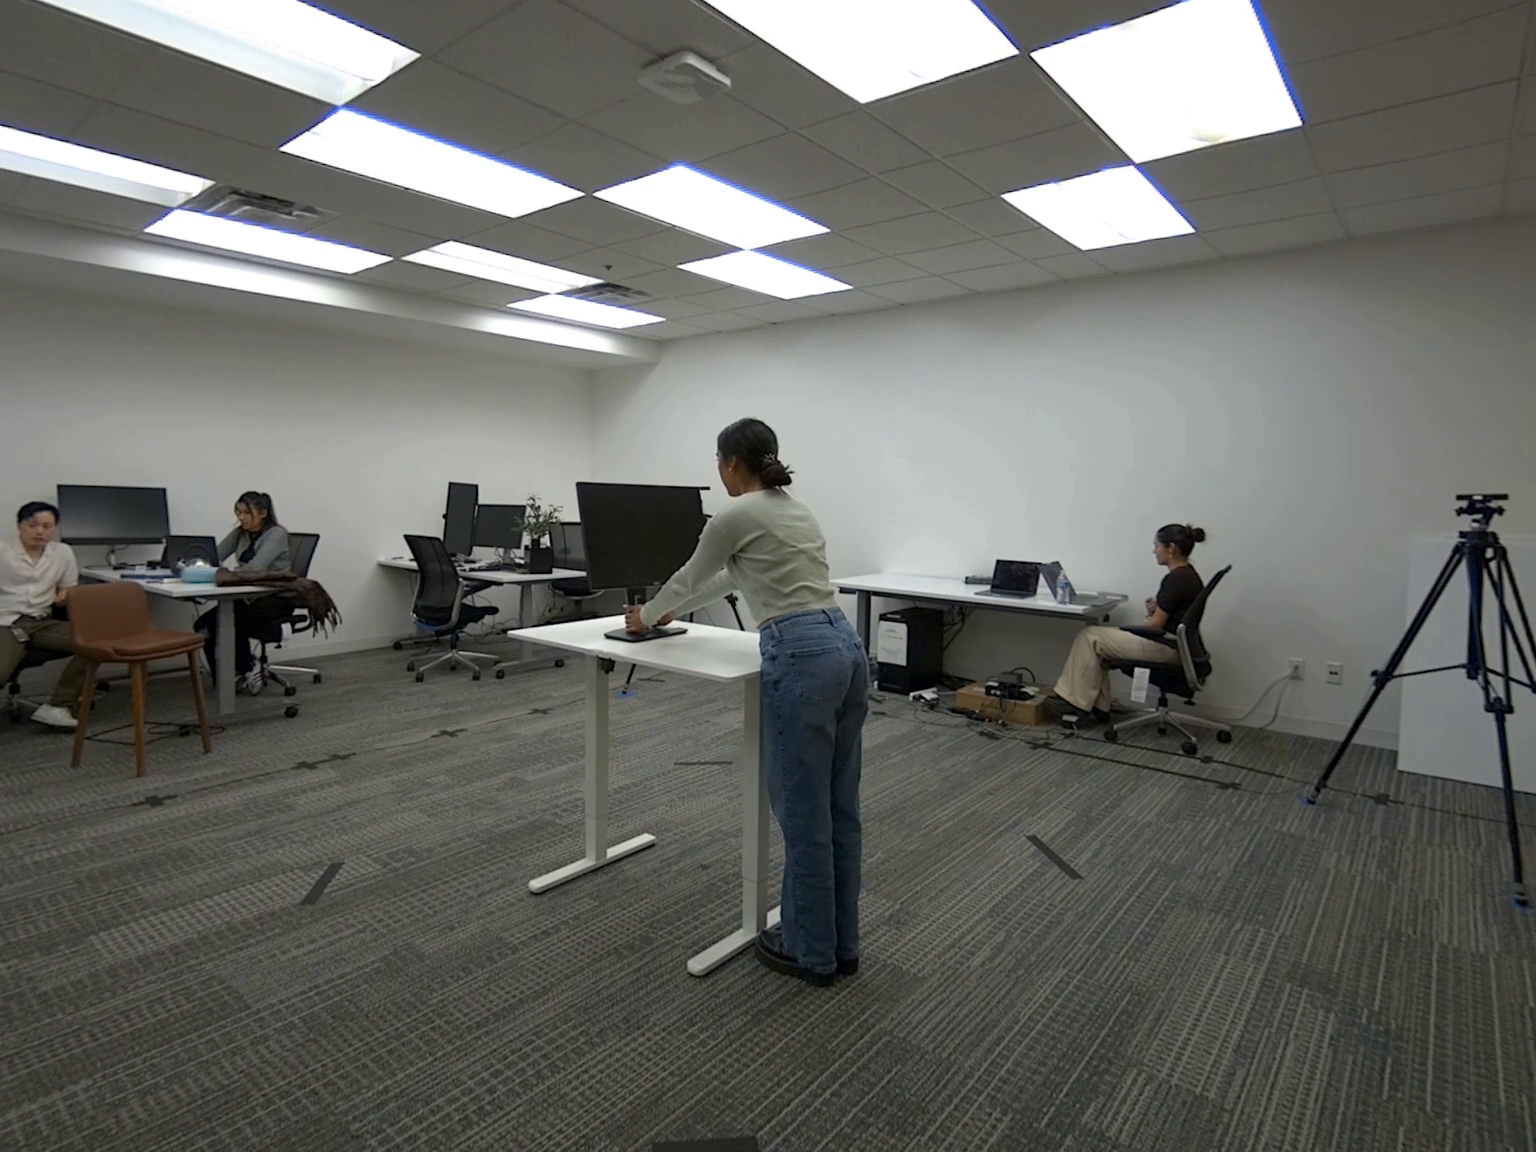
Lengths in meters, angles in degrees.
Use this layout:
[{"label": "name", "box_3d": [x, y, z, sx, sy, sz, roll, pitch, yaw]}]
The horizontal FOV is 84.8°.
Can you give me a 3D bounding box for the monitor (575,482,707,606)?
[{"label": "monitor", "box_3d": [-0.435, -0.053, 2.903, 0.193, 0.522, 0.523, 2, 3, 42]}]
